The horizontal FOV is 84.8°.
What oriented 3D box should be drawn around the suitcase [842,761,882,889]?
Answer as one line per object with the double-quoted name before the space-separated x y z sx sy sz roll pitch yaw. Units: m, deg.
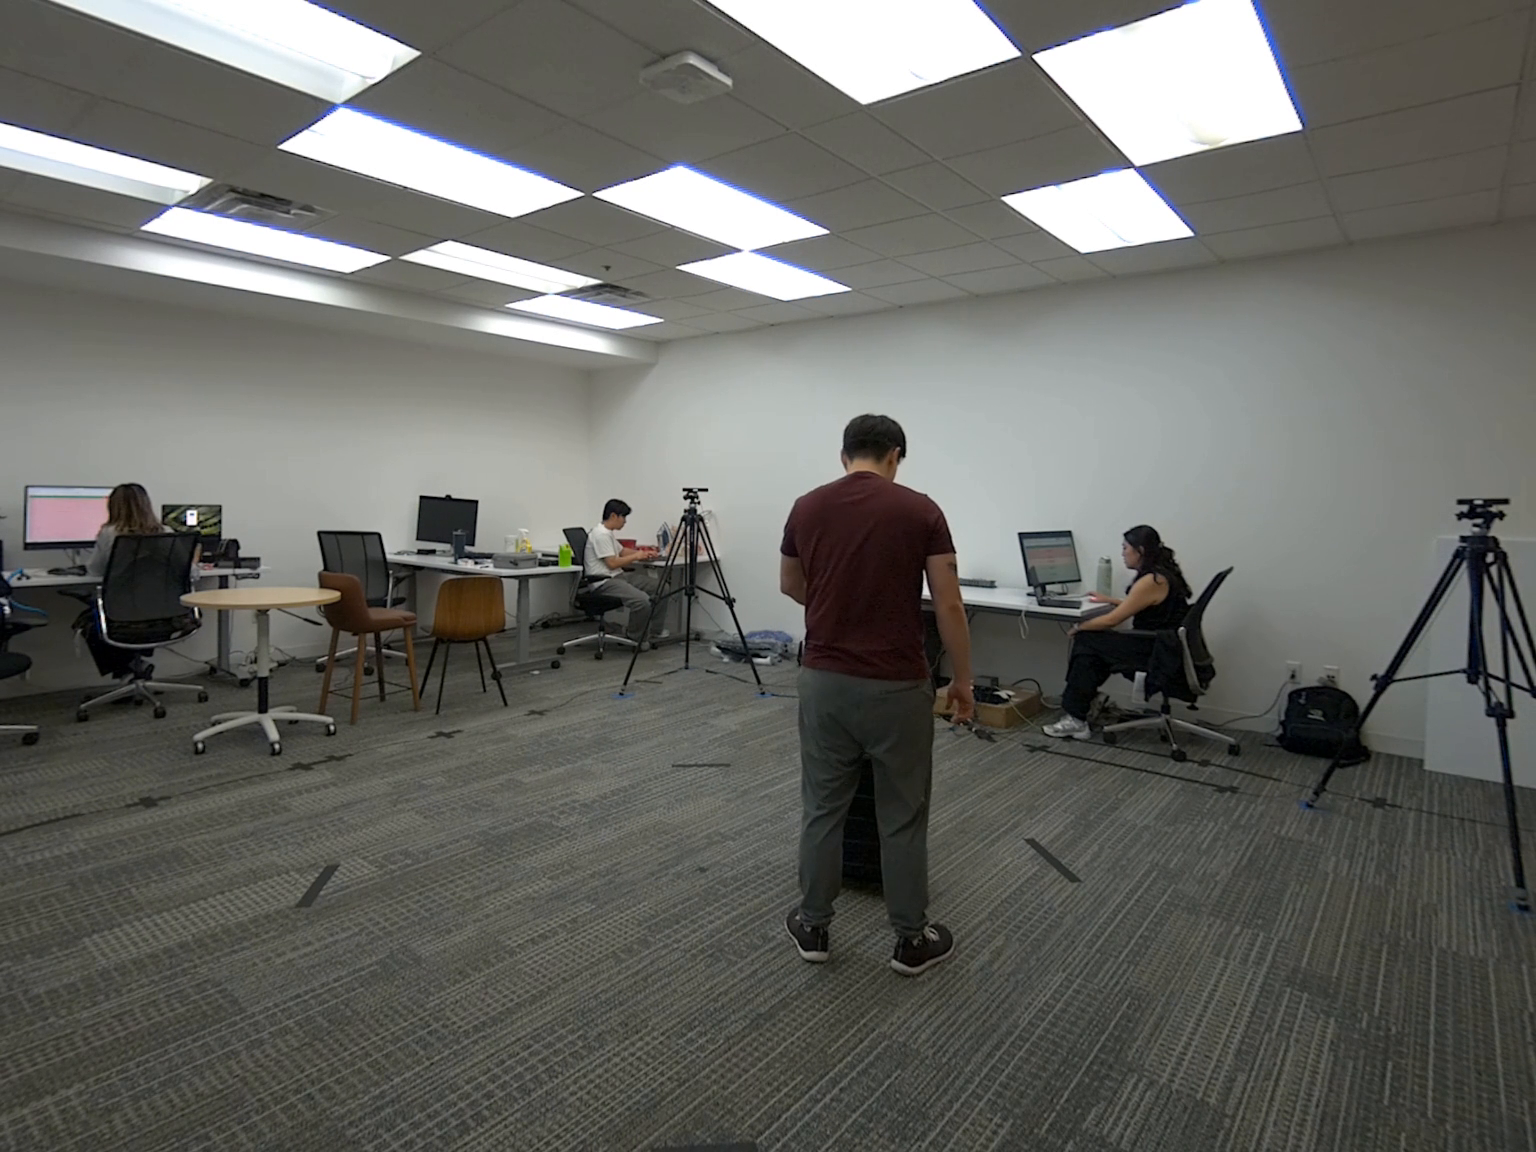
"suitcase" 0.332 0.607 3.047 0.390 0.977 0.253 2 2 15
